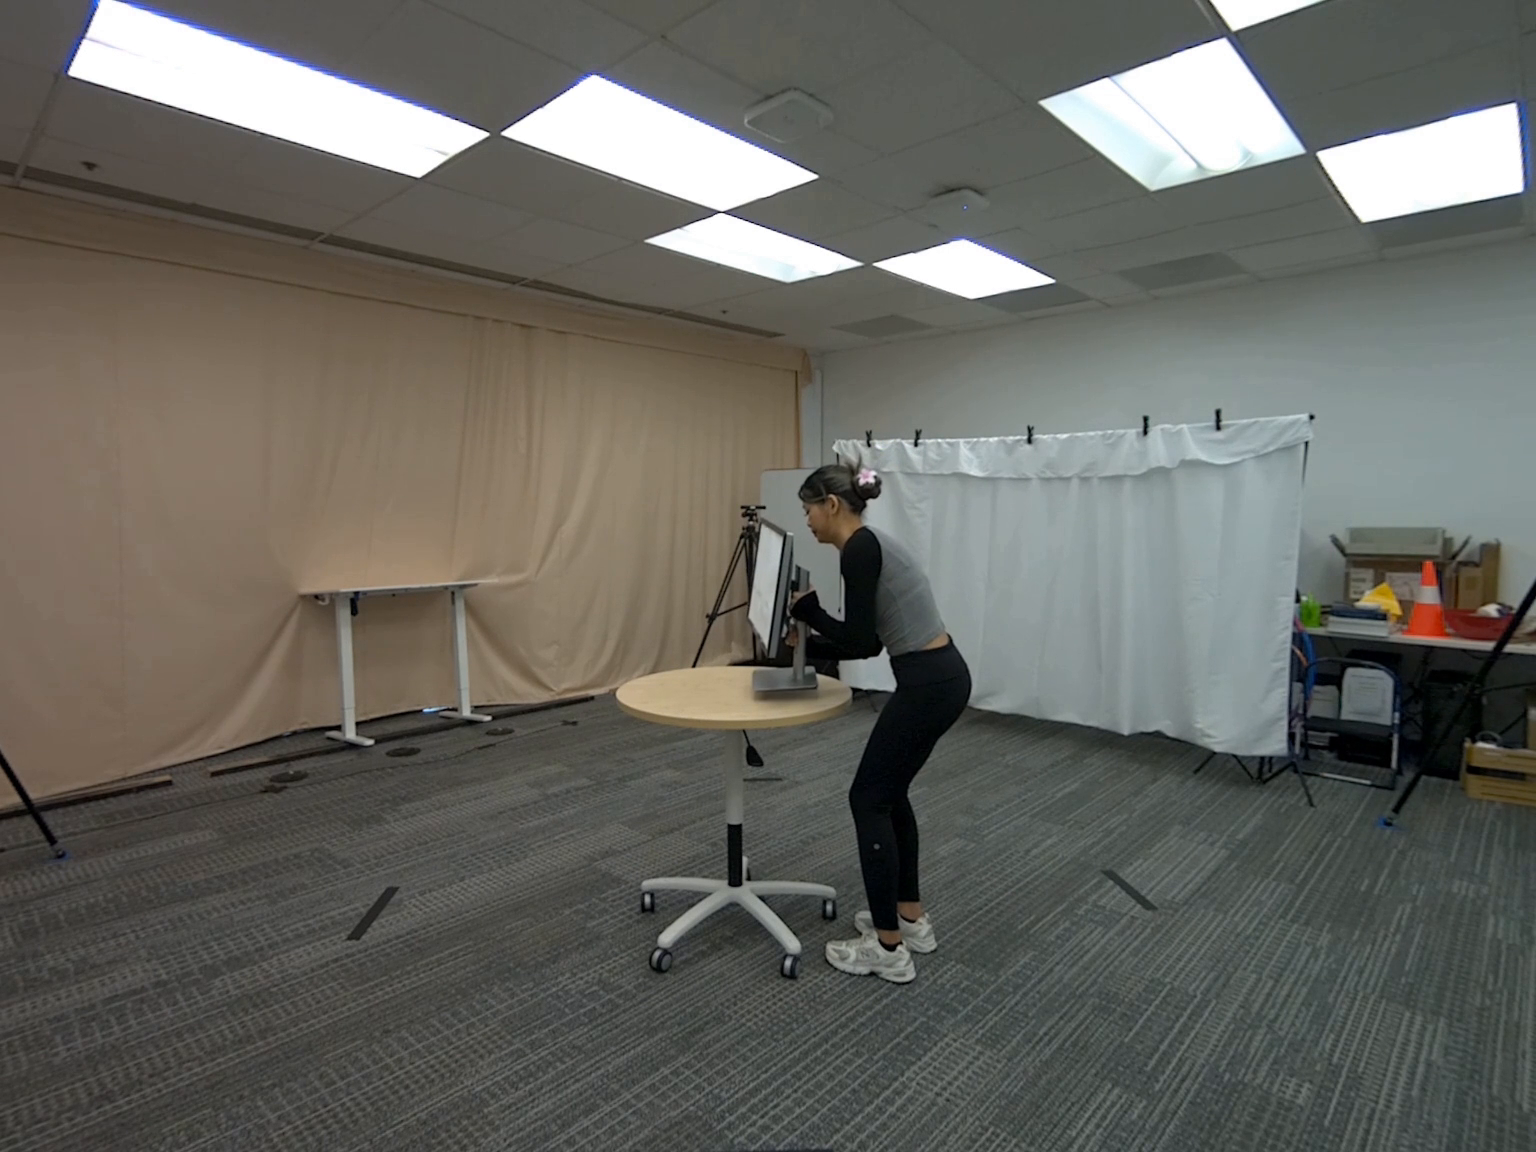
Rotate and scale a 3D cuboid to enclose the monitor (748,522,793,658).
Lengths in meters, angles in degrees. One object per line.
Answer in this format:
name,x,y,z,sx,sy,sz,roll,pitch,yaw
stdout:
monitor,0.050,0.098,2.682,0.186,0.519,0.546,-6,9,-8
